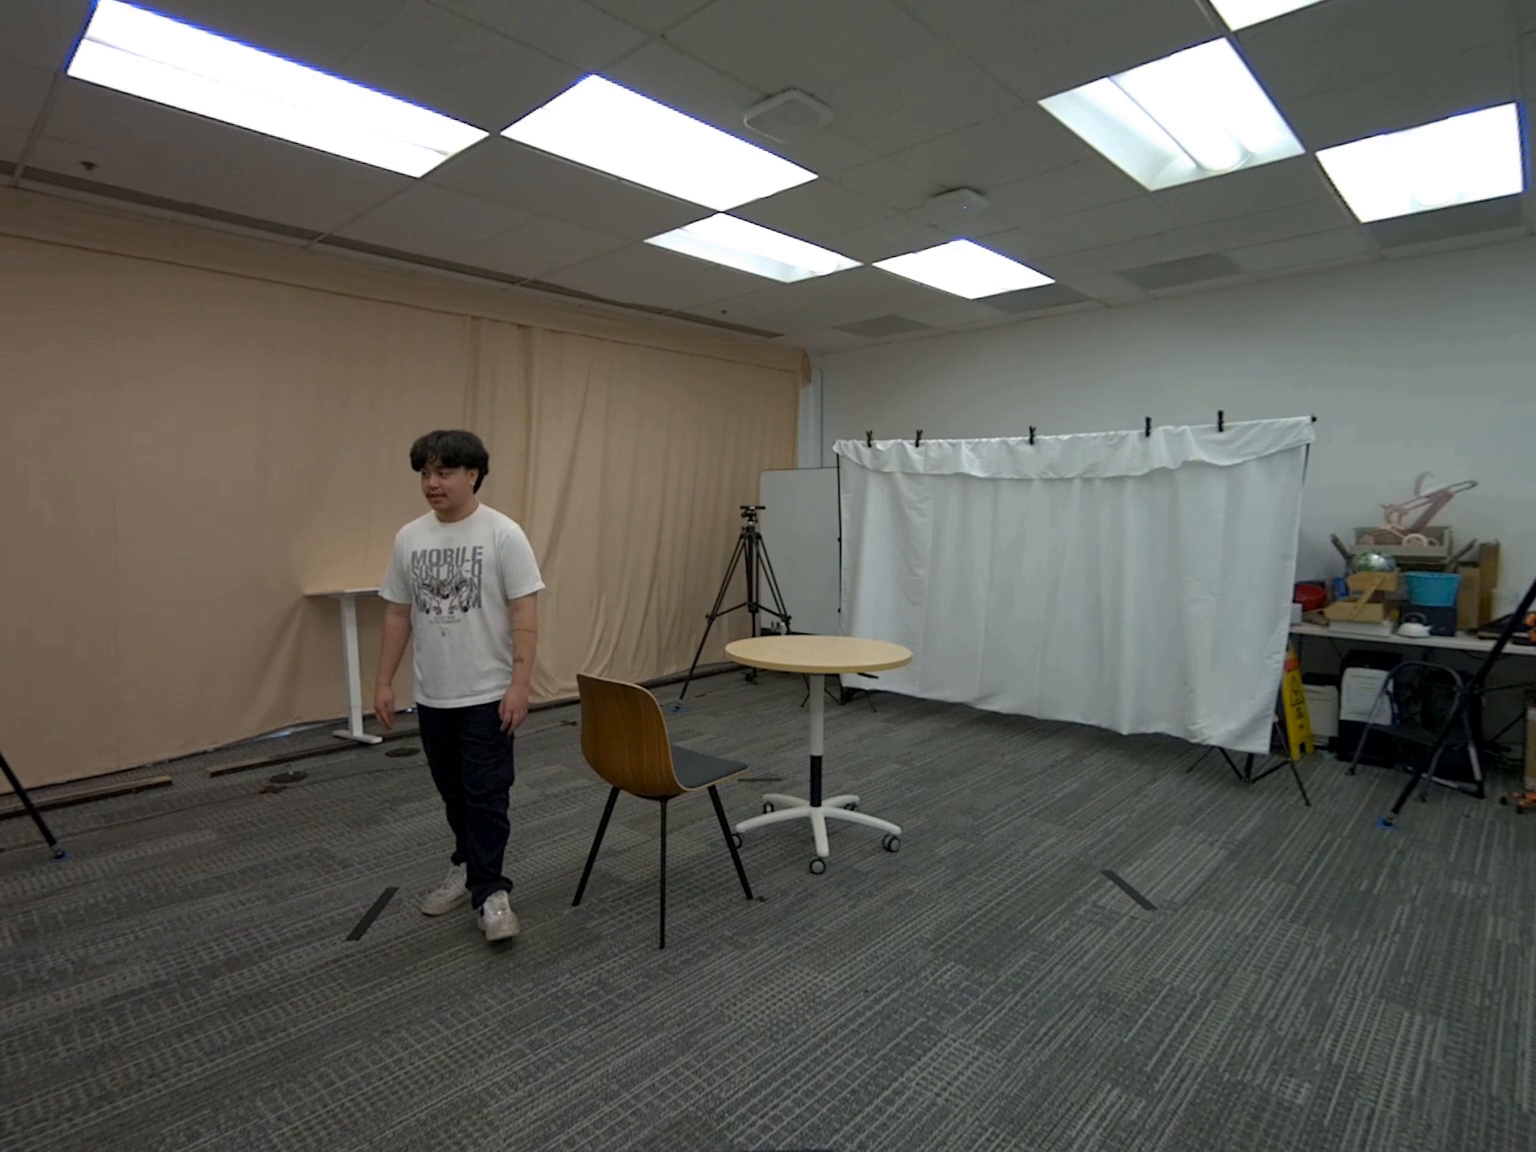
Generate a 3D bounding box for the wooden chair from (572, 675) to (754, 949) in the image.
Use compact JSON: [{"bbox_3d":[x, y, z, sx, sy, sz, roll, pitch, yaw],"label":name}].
[{"bbox_3d":[-0.363,0.724,2.934,0.494,0.873,0.508,2,8,40],"label":"wooden chair"}]
